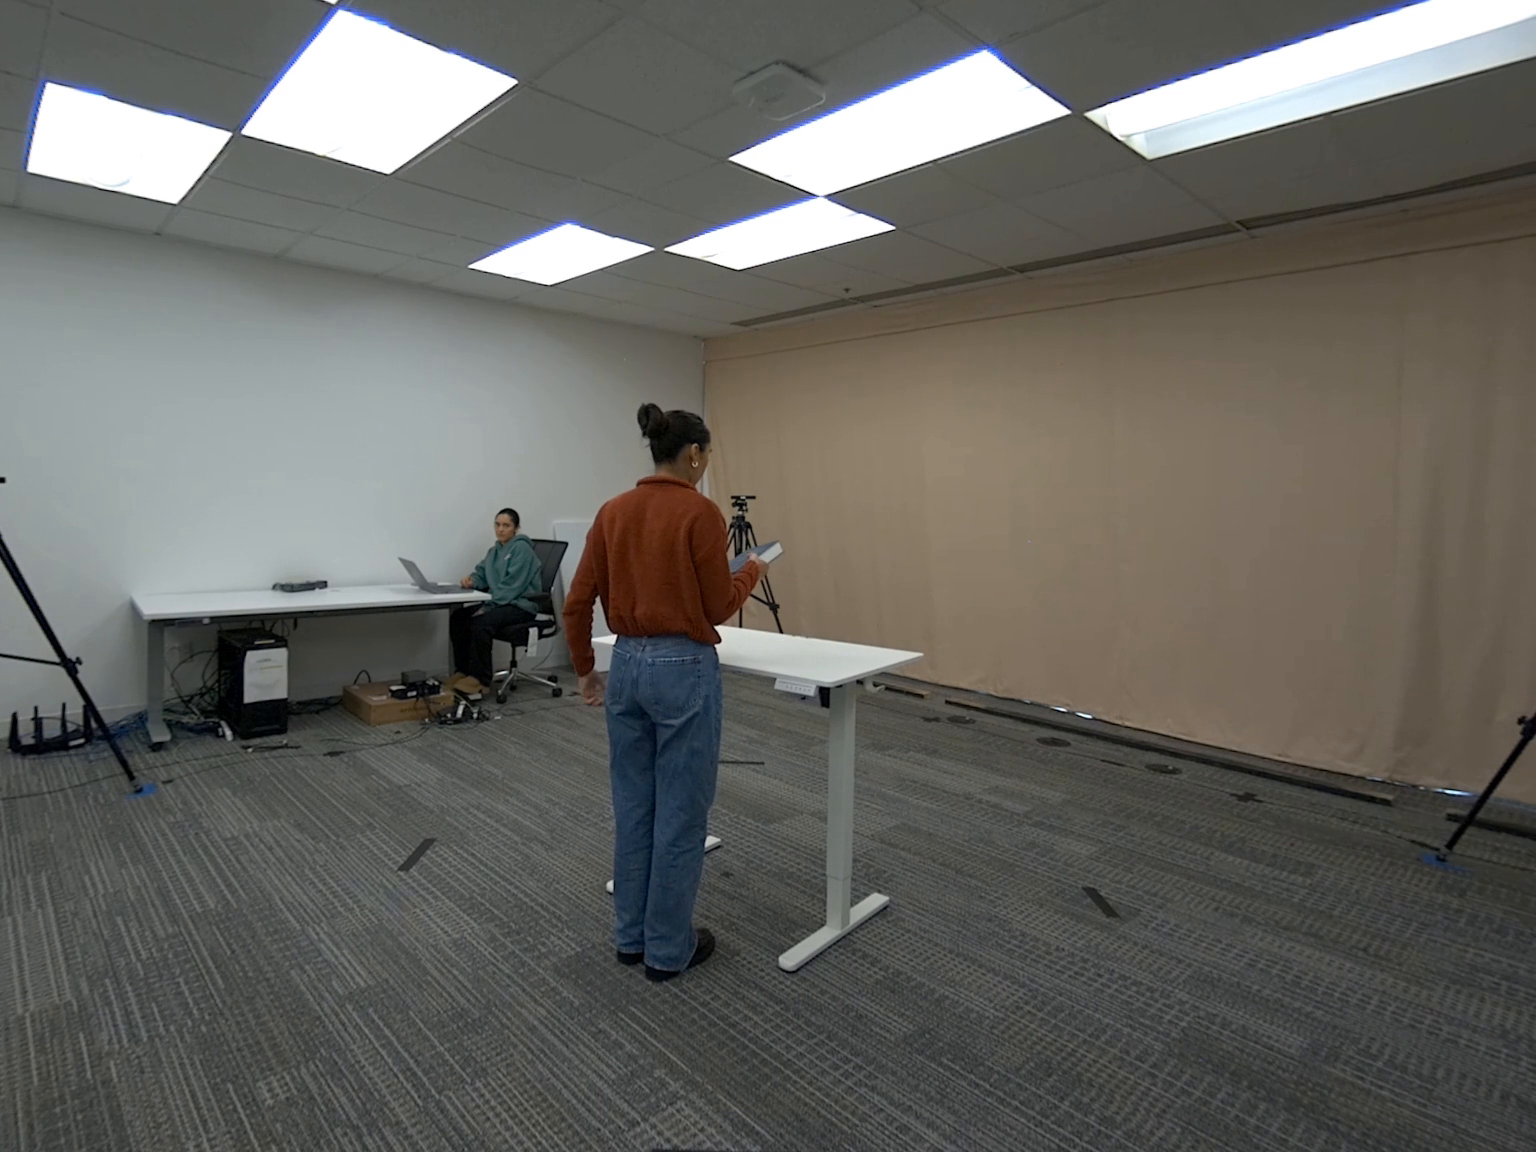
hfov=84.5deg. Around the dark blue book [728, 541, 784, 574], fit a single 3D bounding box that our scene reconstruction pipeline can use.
[{"bbox_3d":[-0.086,-0.021,2.698,0.166,0.045,0.243,-15,16,44],"label":"dark blue book"}]
